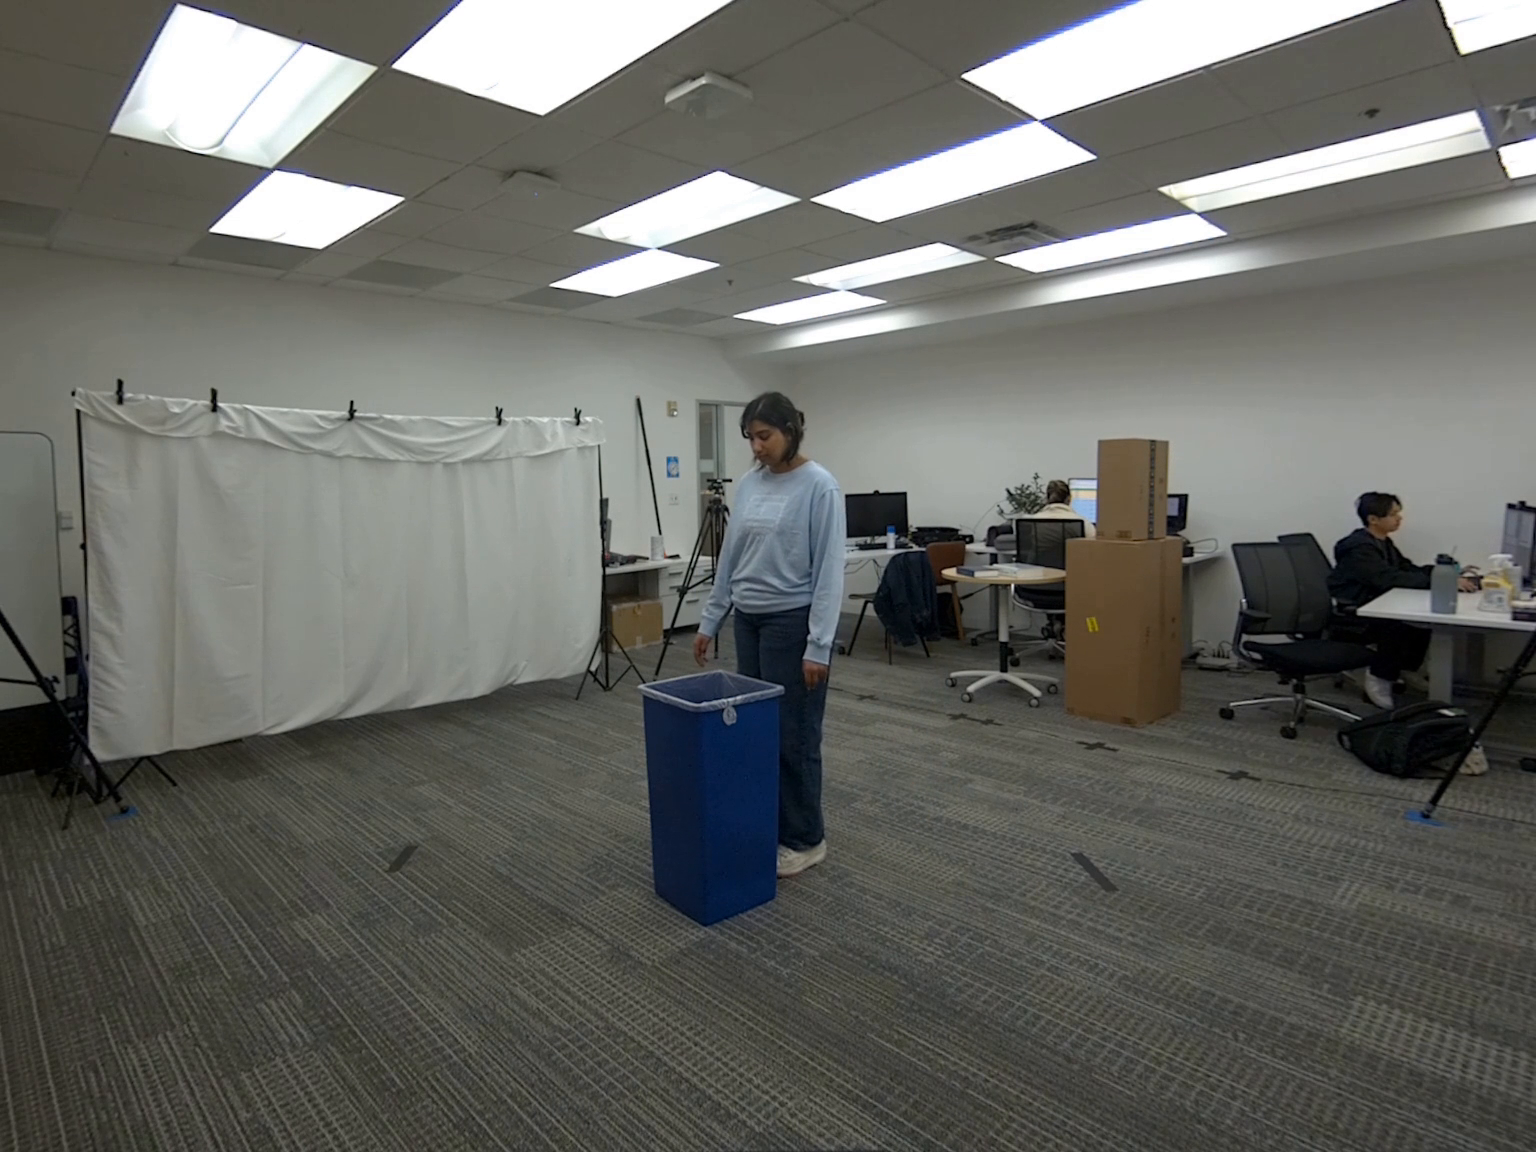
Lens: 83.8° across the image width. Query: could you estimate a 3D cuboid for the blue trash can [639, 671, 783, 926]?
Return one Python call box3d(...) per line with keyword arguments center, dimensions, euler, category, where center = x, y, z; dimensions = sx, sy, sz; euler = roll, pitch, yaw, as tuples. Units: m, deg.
box3d(center=(-0.190, 0.720, 2.856), dimensions=(0.368, 0.711, 0.385), euler=(-4, 5, -40), category="blue trash can")
